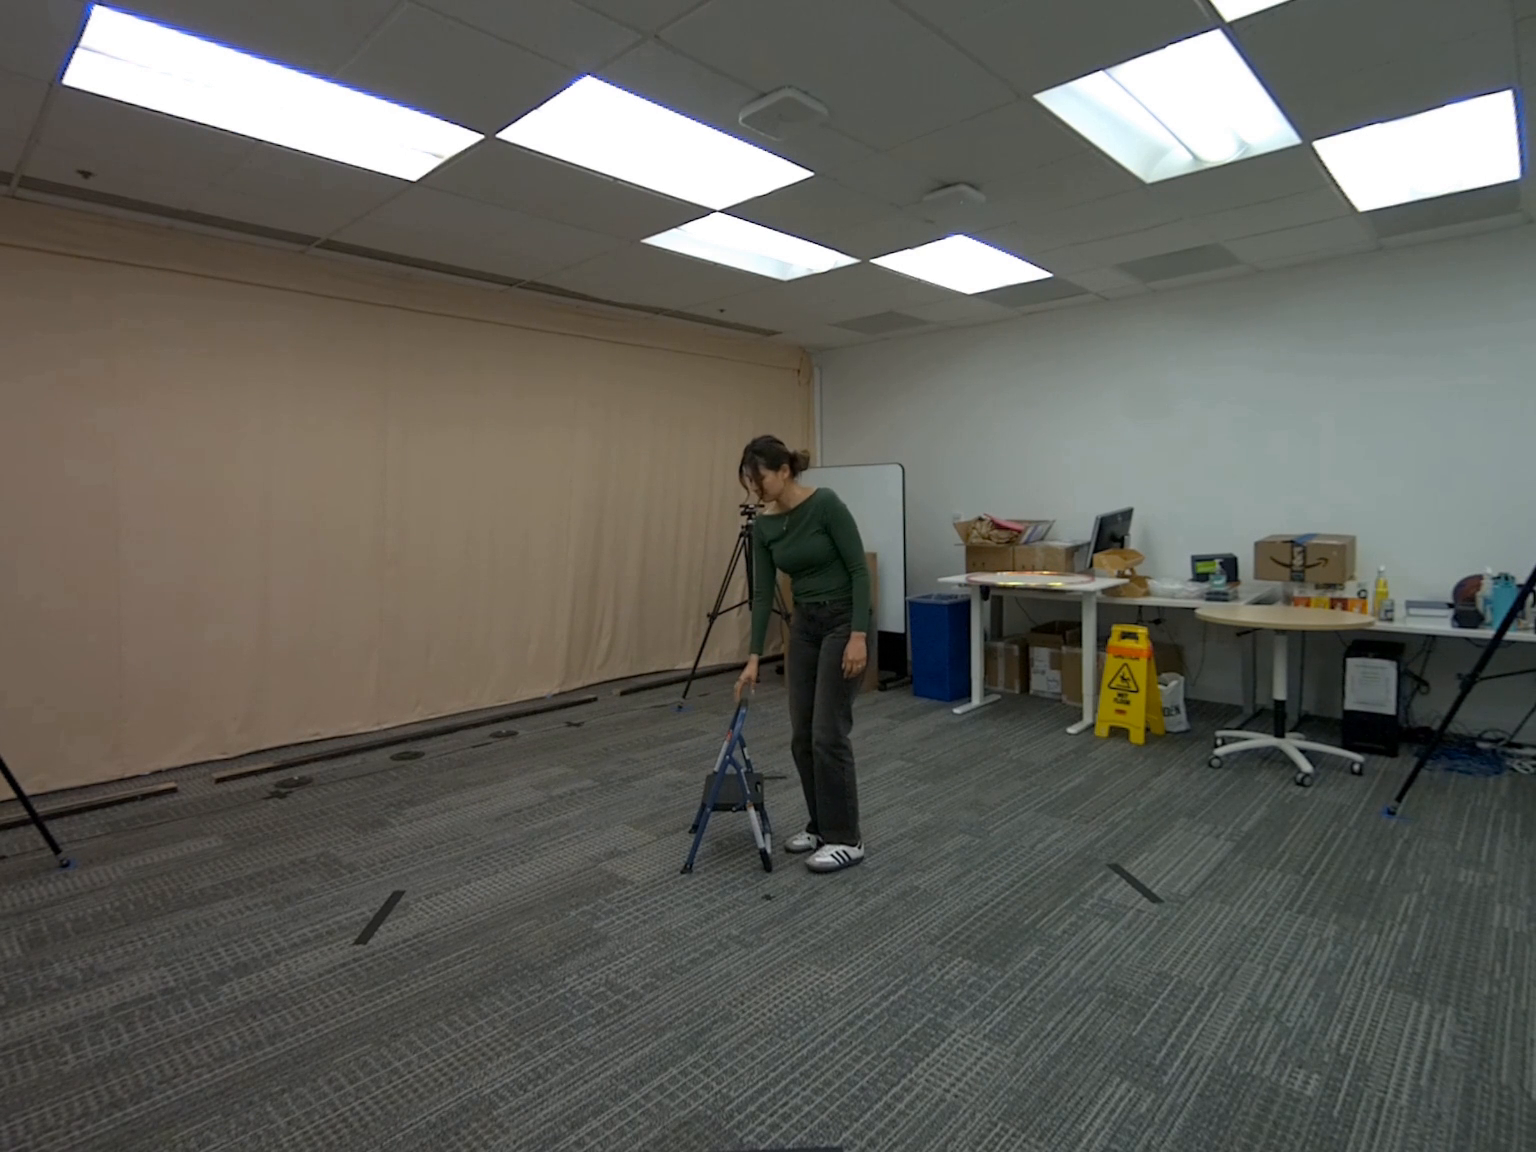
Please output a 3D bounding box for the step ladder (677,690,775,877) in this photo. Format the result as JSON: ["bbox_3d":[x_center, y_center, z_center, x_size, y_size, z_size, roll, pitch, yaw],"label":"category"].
[{"bbox_3d":[-0.161,0.806,3.382,0.350,0.604,0.431,-1,4,1],"label":"step ladder"}]
